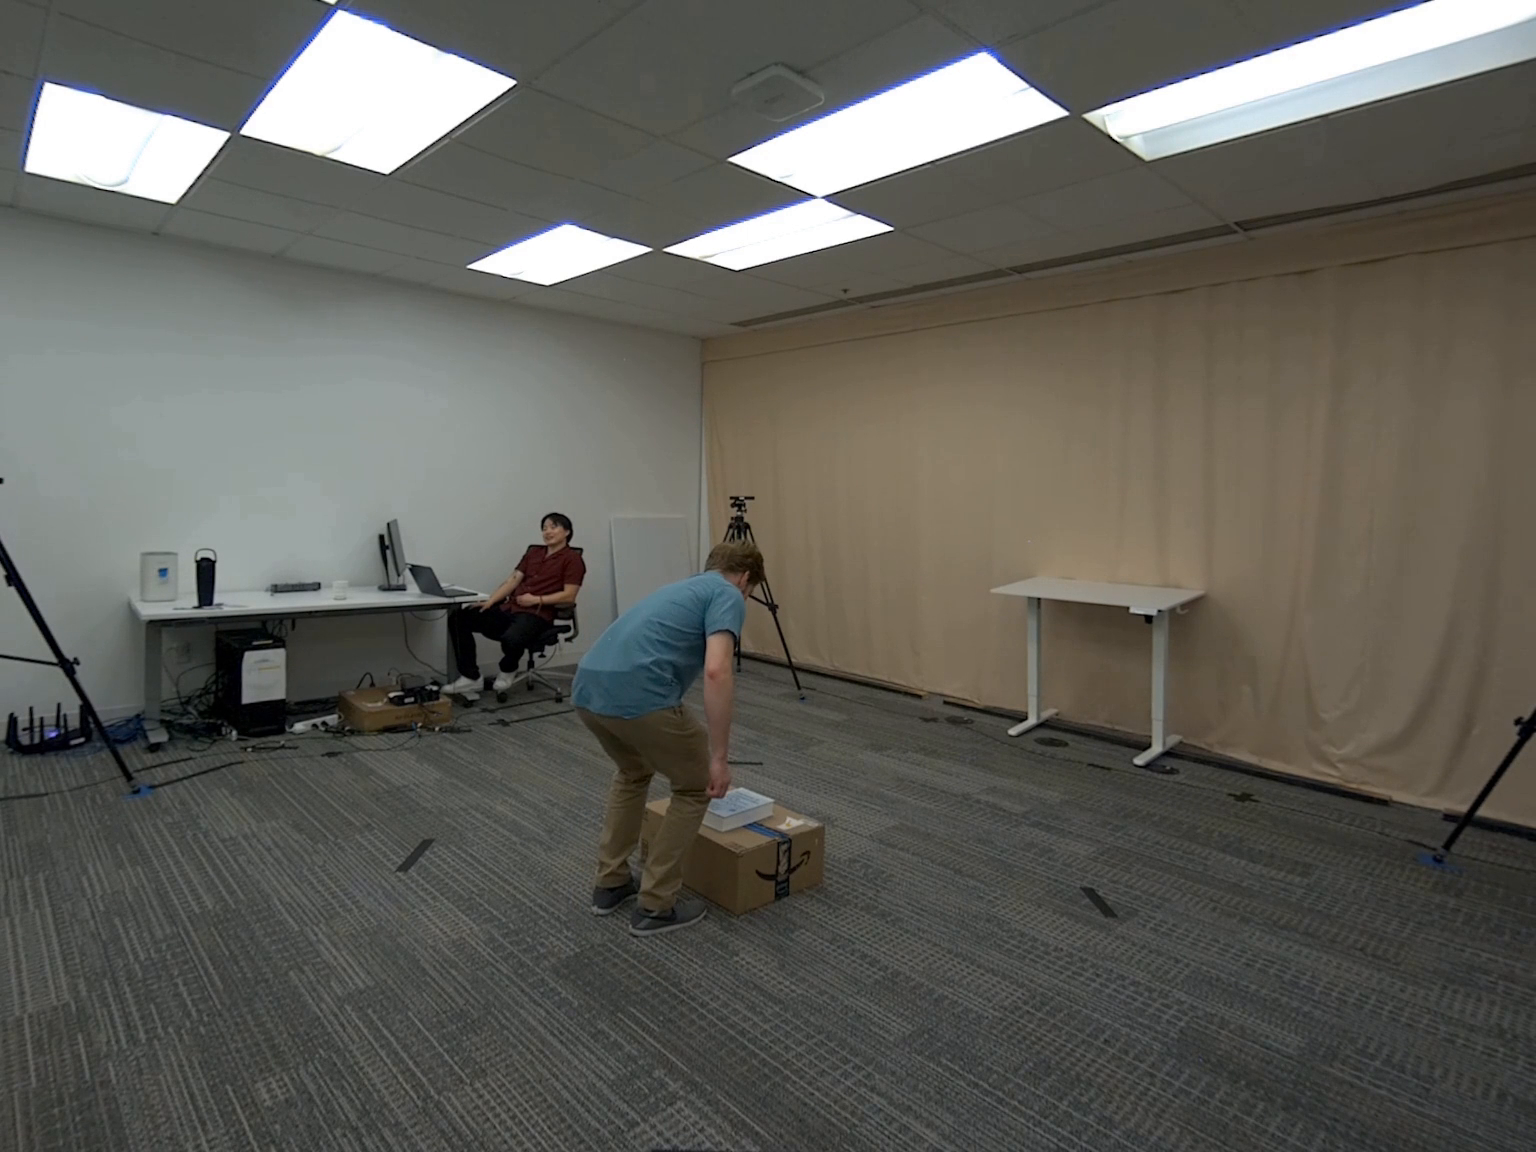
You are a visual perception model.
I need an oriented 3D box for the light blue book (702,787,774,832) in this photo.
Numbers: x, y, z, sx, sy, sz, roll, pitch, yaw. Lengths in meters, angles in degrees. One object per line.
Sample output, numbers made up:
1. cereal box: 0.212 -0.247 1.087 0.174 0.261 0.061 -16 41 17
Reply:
1. light blue book: -0.139 0.861 3.122 0.255 0.059 0.196 -4 7 -45
